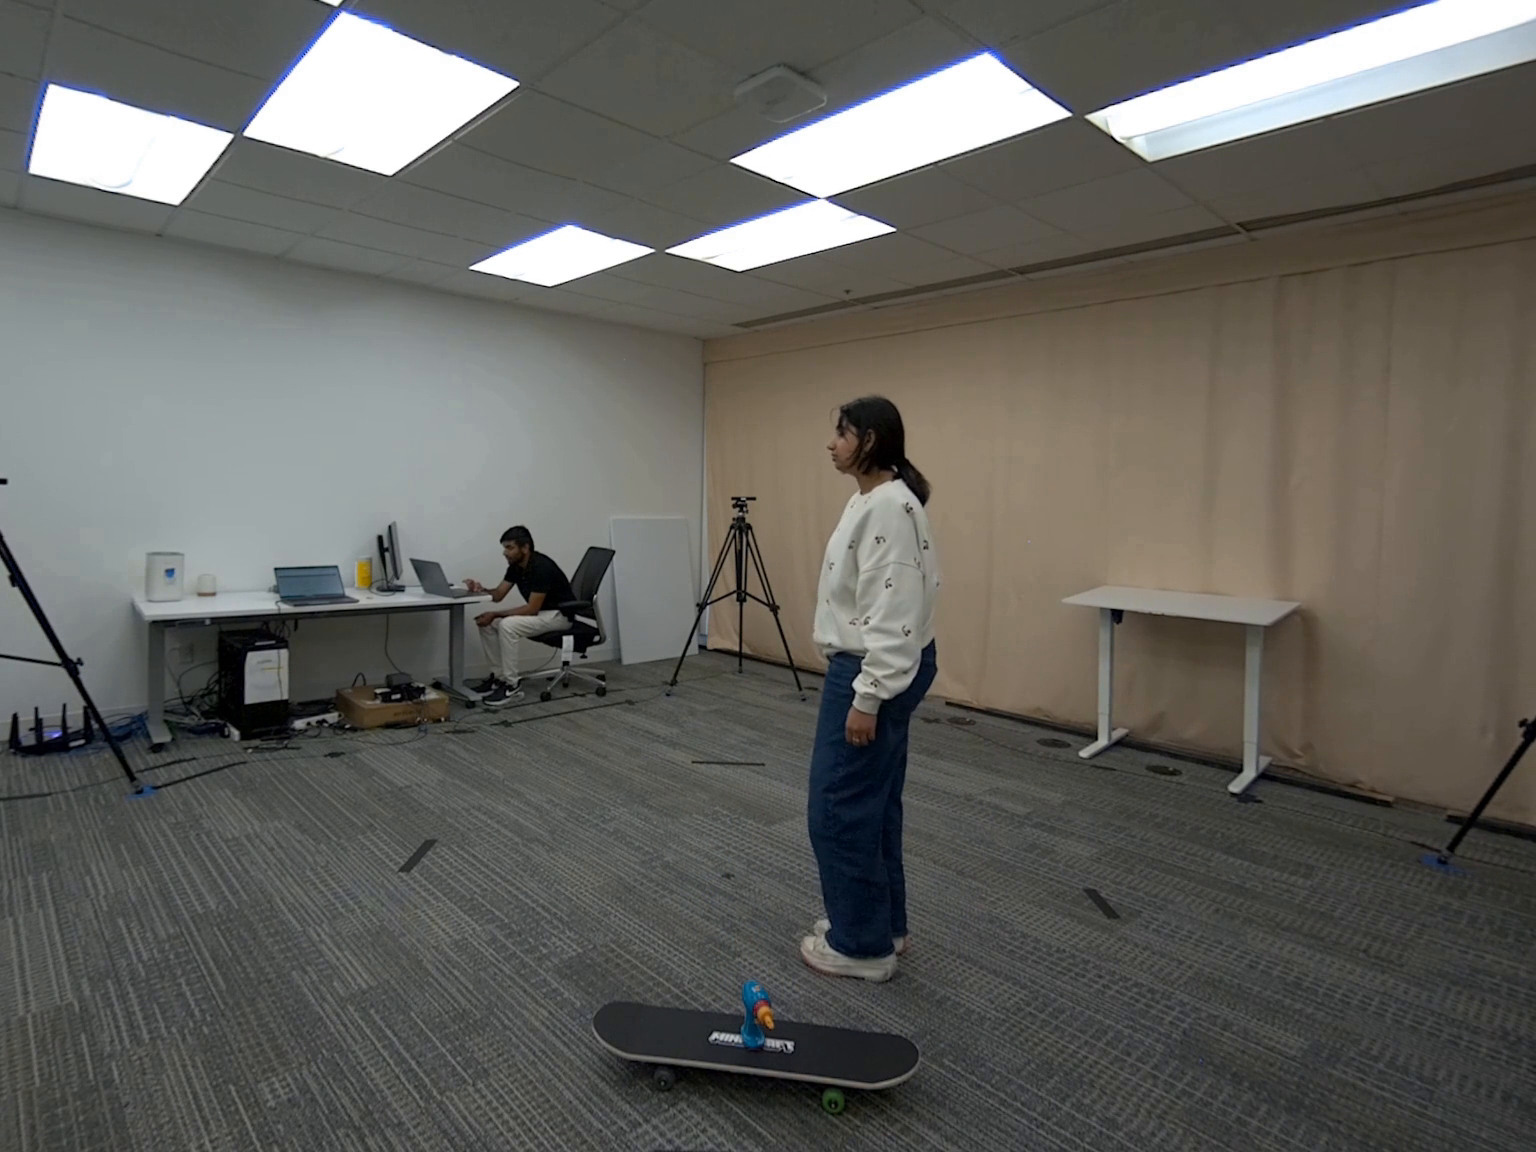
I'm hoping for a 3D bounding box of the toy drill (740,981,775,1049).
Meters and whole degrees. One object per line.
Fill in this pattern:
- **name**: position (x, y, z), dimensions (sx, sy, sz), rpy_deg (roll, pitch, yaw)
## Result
- **toy drill**: position (-0.041, 1.058, 1.970), dimensions (0.060, 0.145, 0.172), rpy_deg (-3, 7, -15)
